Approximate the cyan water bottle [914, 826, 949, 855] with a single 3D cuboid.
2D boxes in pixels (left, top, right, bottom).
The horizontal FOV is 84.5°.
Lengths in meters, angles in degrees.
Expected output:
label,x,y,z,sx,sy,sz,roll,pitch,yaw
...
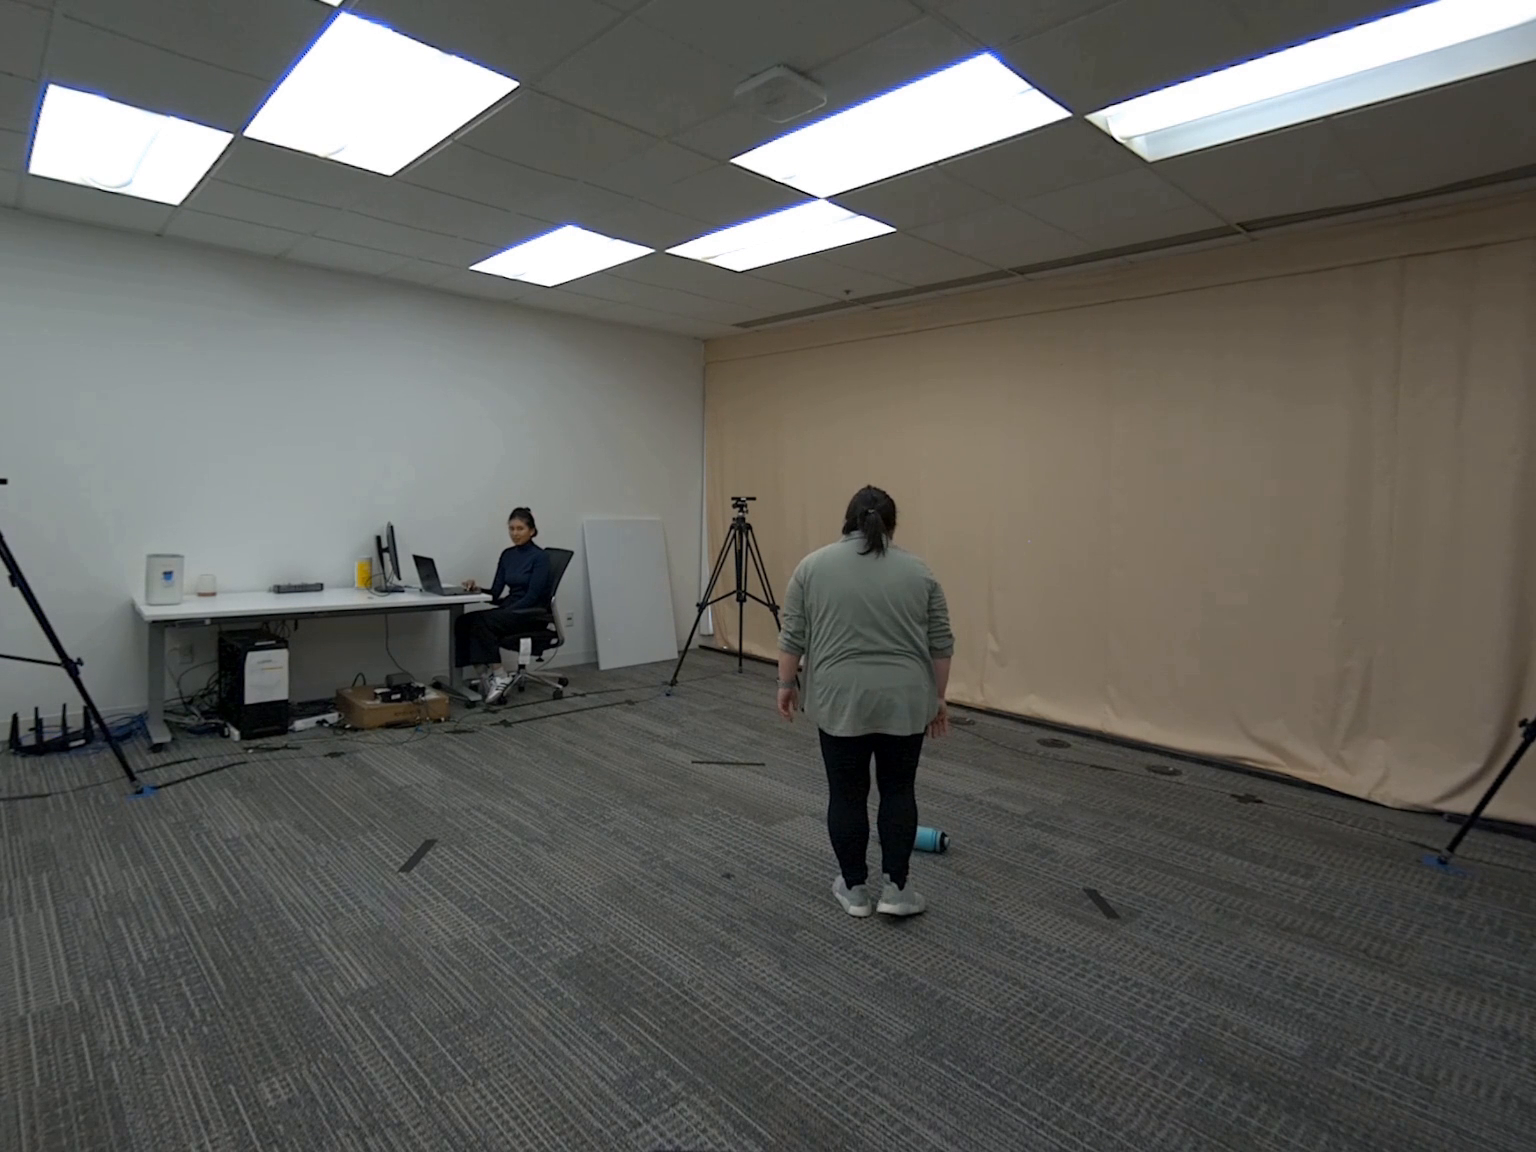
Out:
label,x,y,z,sx,sy,sz,roll,pitch,yaw
cyan water bottle,0.580,1.052,3.403,0.288,0.092,0.091,3,4,20
